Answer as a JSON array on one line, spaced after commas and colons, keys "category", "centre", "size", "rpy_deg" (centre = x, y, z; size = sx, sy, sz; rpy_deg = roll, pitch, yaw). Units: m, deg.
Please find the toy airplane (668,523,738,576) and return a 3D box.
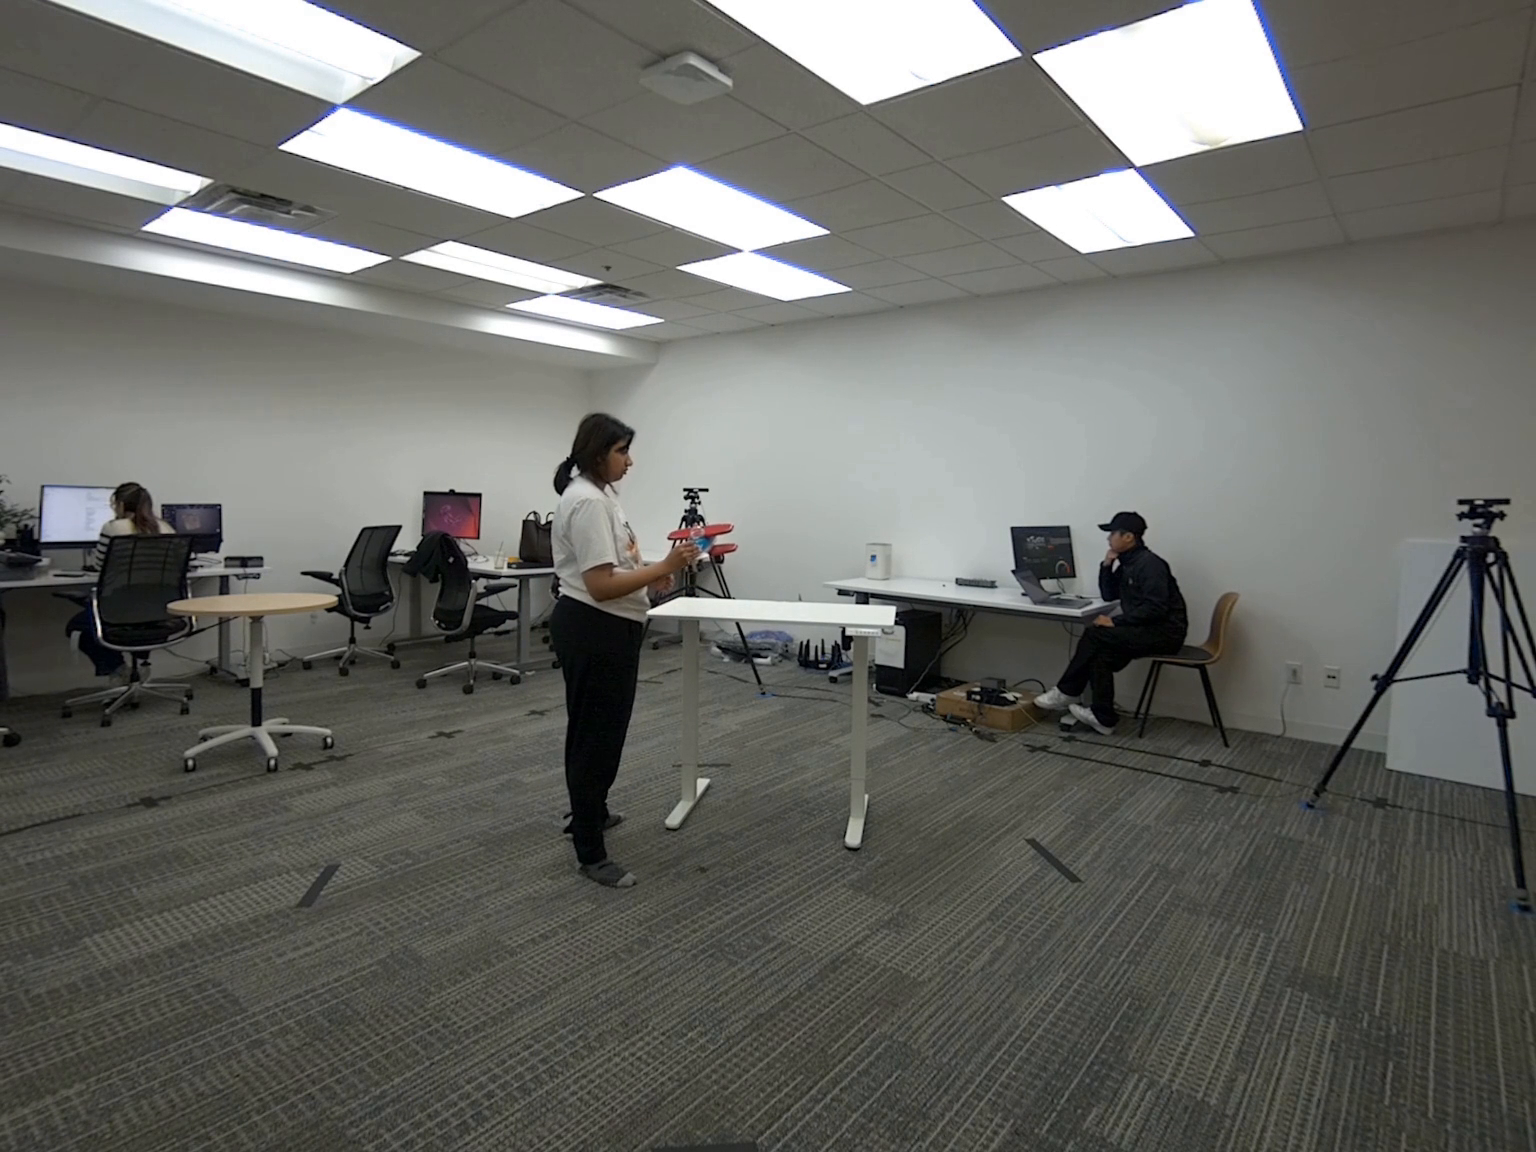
[{"category": "toy airplane", "centre": [-0.240, -0.104, 3.141], "size": [0.248, 0.156, 0.263], "rpy_deg": [-9, 5, -14]}]
